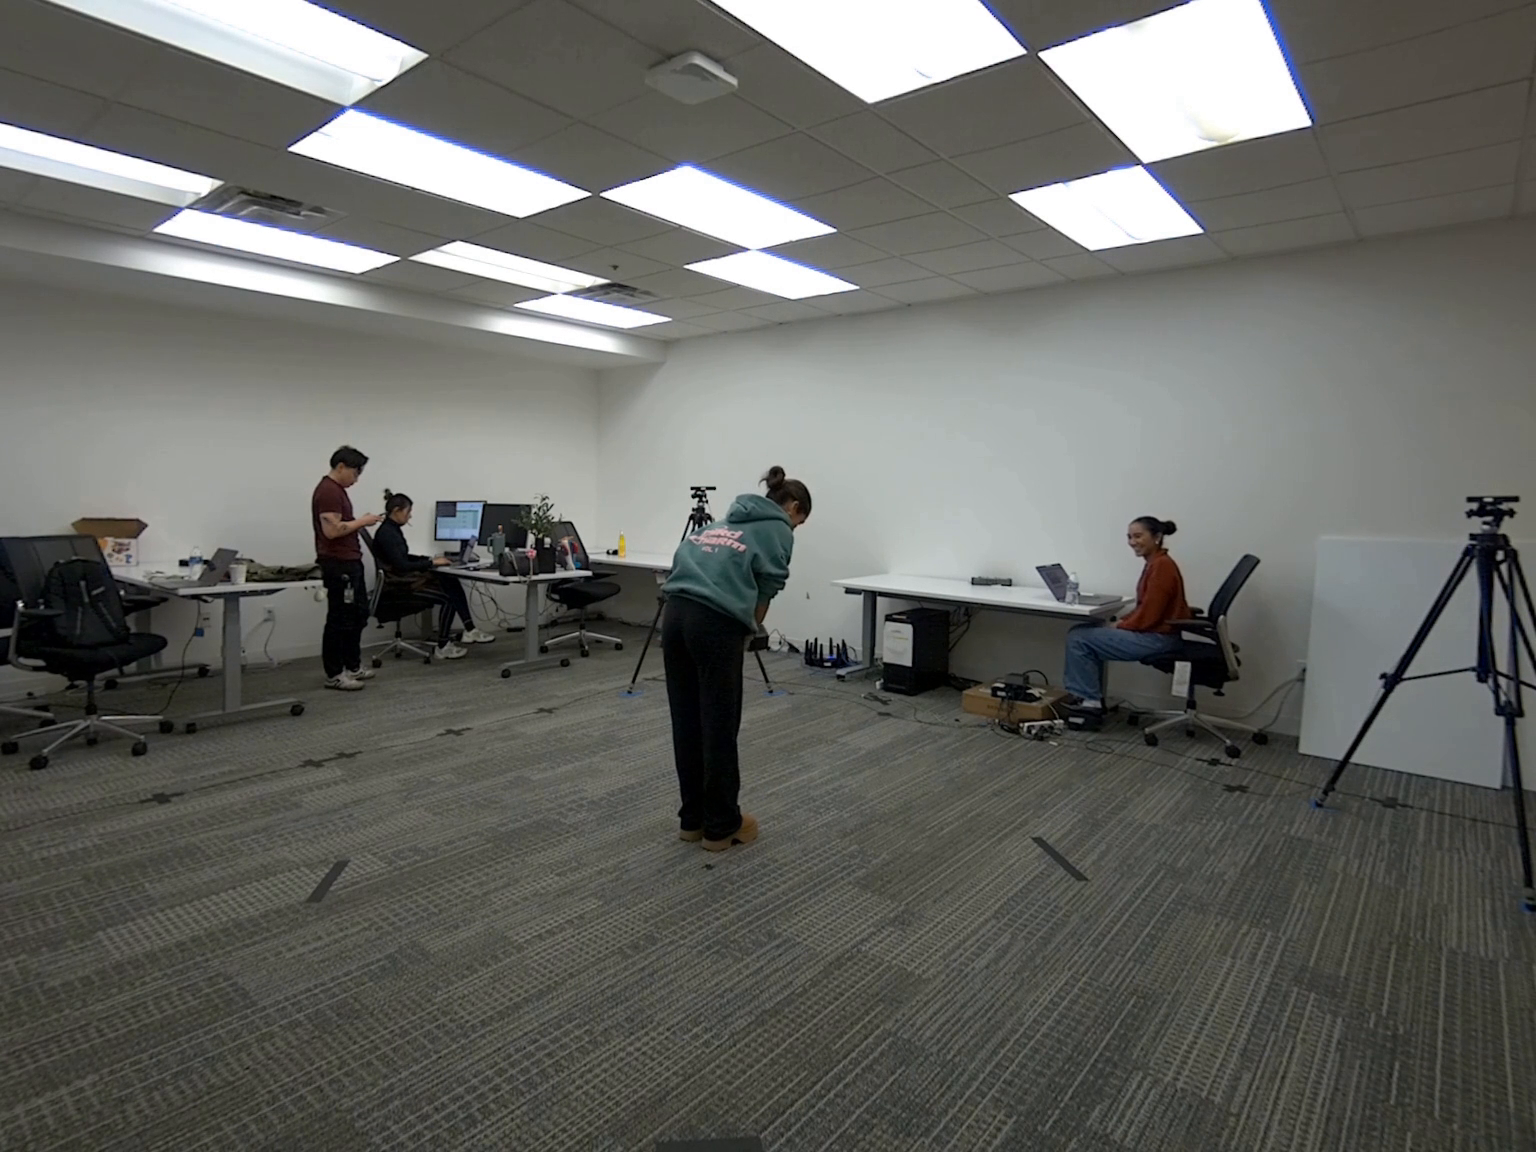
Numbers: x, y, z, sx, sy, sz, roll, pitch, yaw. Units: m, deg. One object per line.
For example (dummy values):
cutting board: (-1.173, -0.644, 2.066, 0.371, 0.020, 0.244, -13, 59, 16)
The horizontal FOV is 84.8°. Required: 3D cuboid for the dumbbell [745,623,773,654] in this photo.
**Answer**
dumbbell: (-0.148, 0.270, 3.543, 0.287, 0.109, 0.125, -5, -2, -25)
